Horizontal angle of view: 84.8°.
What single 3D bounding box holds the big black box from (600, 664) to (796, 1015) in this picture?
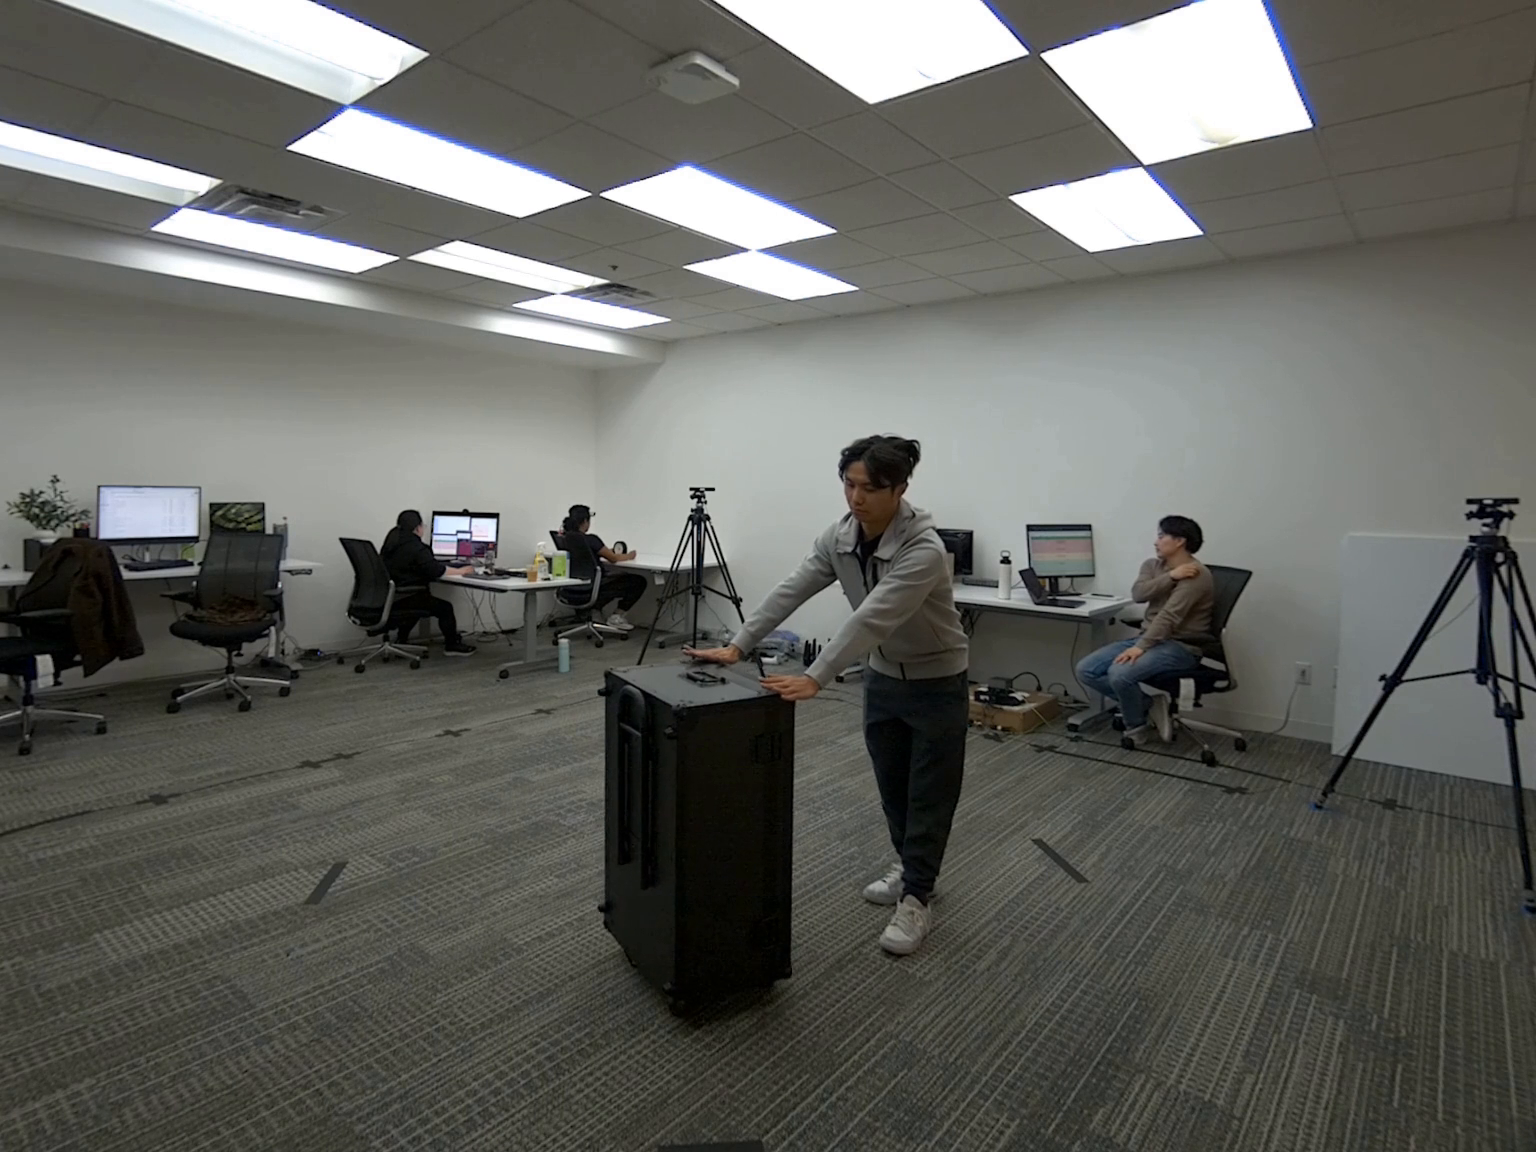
[{"bbox_3d":[-0.222,0.719,2.389,0.386,0.858,0.537,-2,5,-31],"label":"big black box"}]
